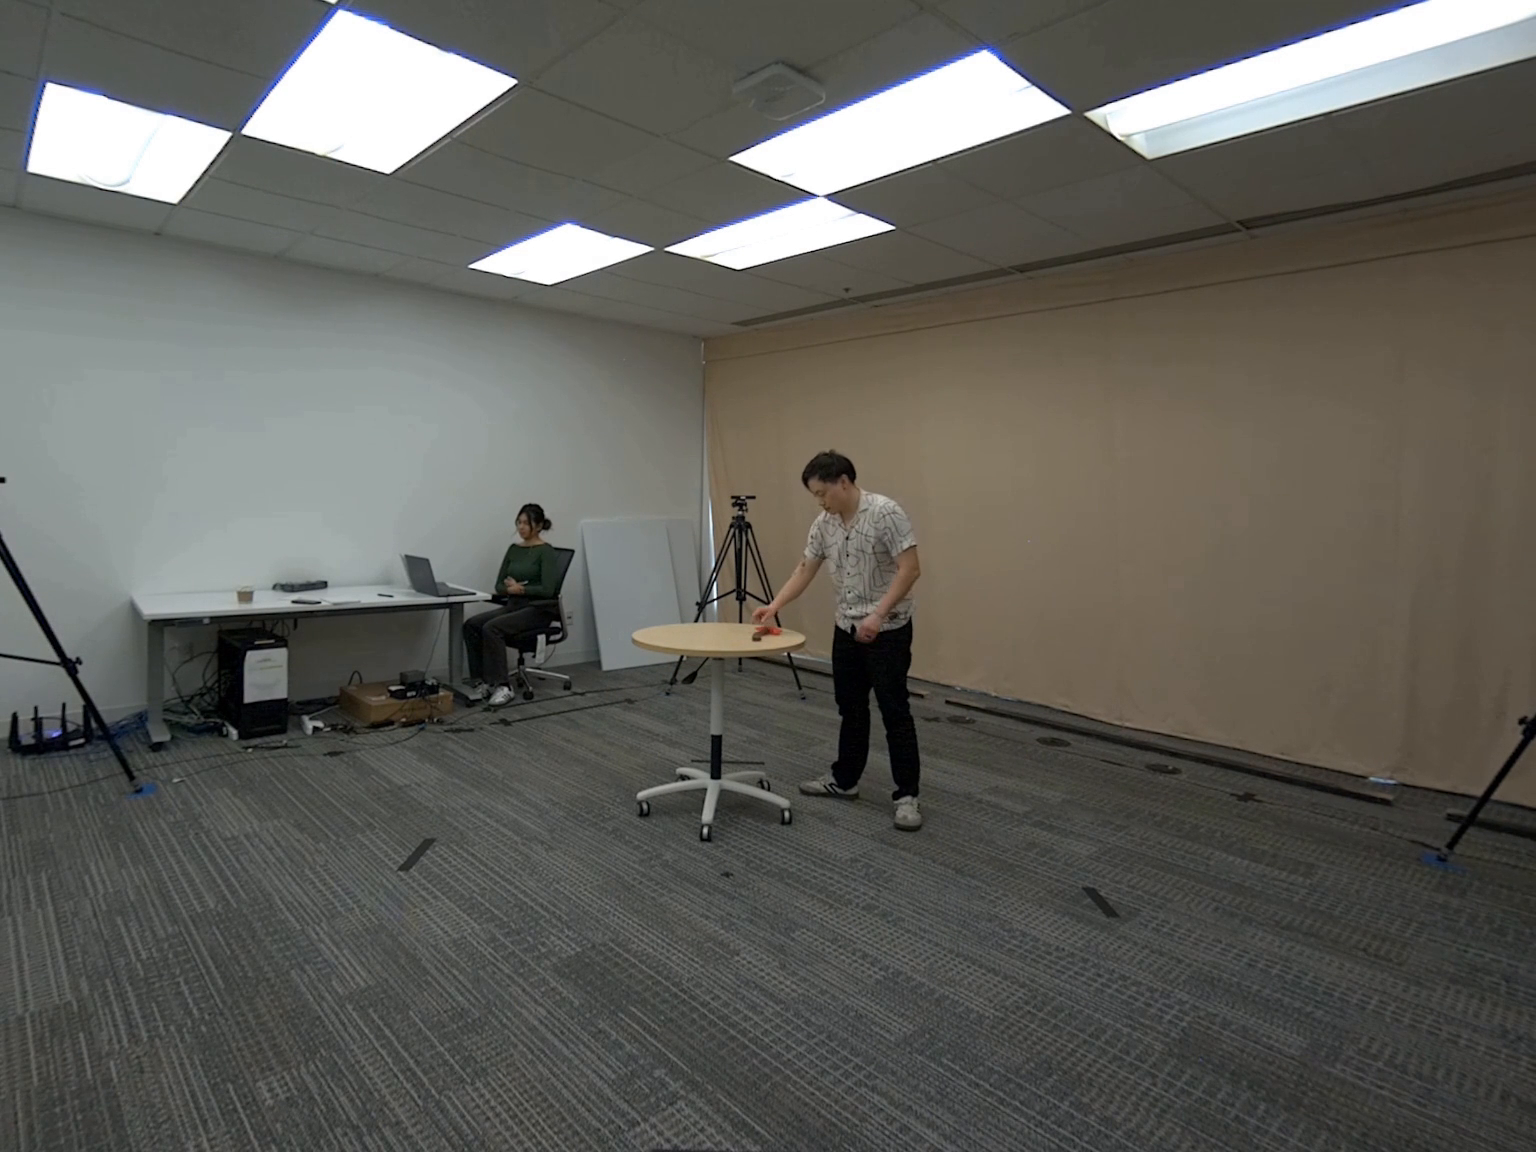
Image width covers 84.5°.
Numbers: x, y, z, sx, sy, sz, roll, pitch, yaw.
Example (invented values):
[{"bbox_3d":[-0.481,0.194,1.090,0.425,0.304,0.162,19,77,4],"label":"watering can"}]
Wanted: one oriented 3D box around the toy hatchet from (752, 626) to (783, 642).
[{"bbox_3d":[-0.007,0.256,3.706,0.131,0.029,0.271,3,6,-3],"label":"toy hatchet"}]
